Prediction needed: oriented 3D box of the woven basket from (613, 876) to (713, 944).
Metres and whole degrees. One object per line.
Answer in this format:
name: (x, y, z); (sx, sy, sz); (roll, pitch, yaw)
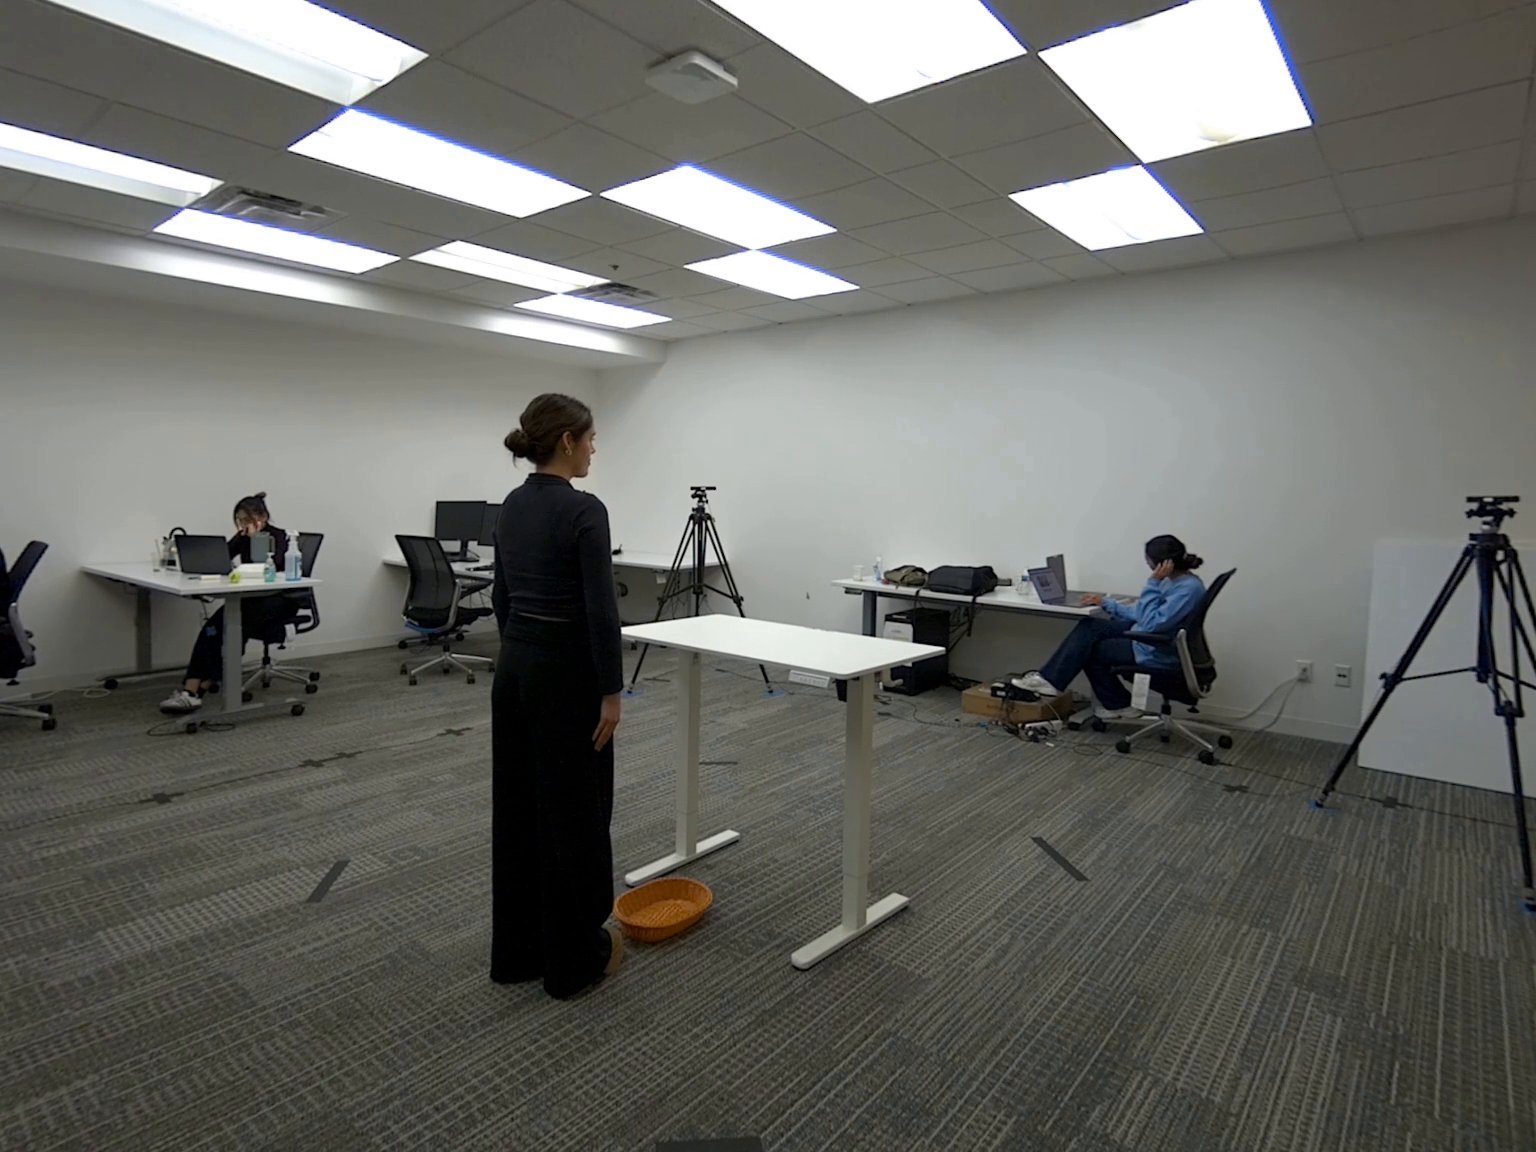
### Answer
woven basket: (-0.342, 1.063, 2.715); (0.261, 0.073, 0.340); (7, 8, 42)
